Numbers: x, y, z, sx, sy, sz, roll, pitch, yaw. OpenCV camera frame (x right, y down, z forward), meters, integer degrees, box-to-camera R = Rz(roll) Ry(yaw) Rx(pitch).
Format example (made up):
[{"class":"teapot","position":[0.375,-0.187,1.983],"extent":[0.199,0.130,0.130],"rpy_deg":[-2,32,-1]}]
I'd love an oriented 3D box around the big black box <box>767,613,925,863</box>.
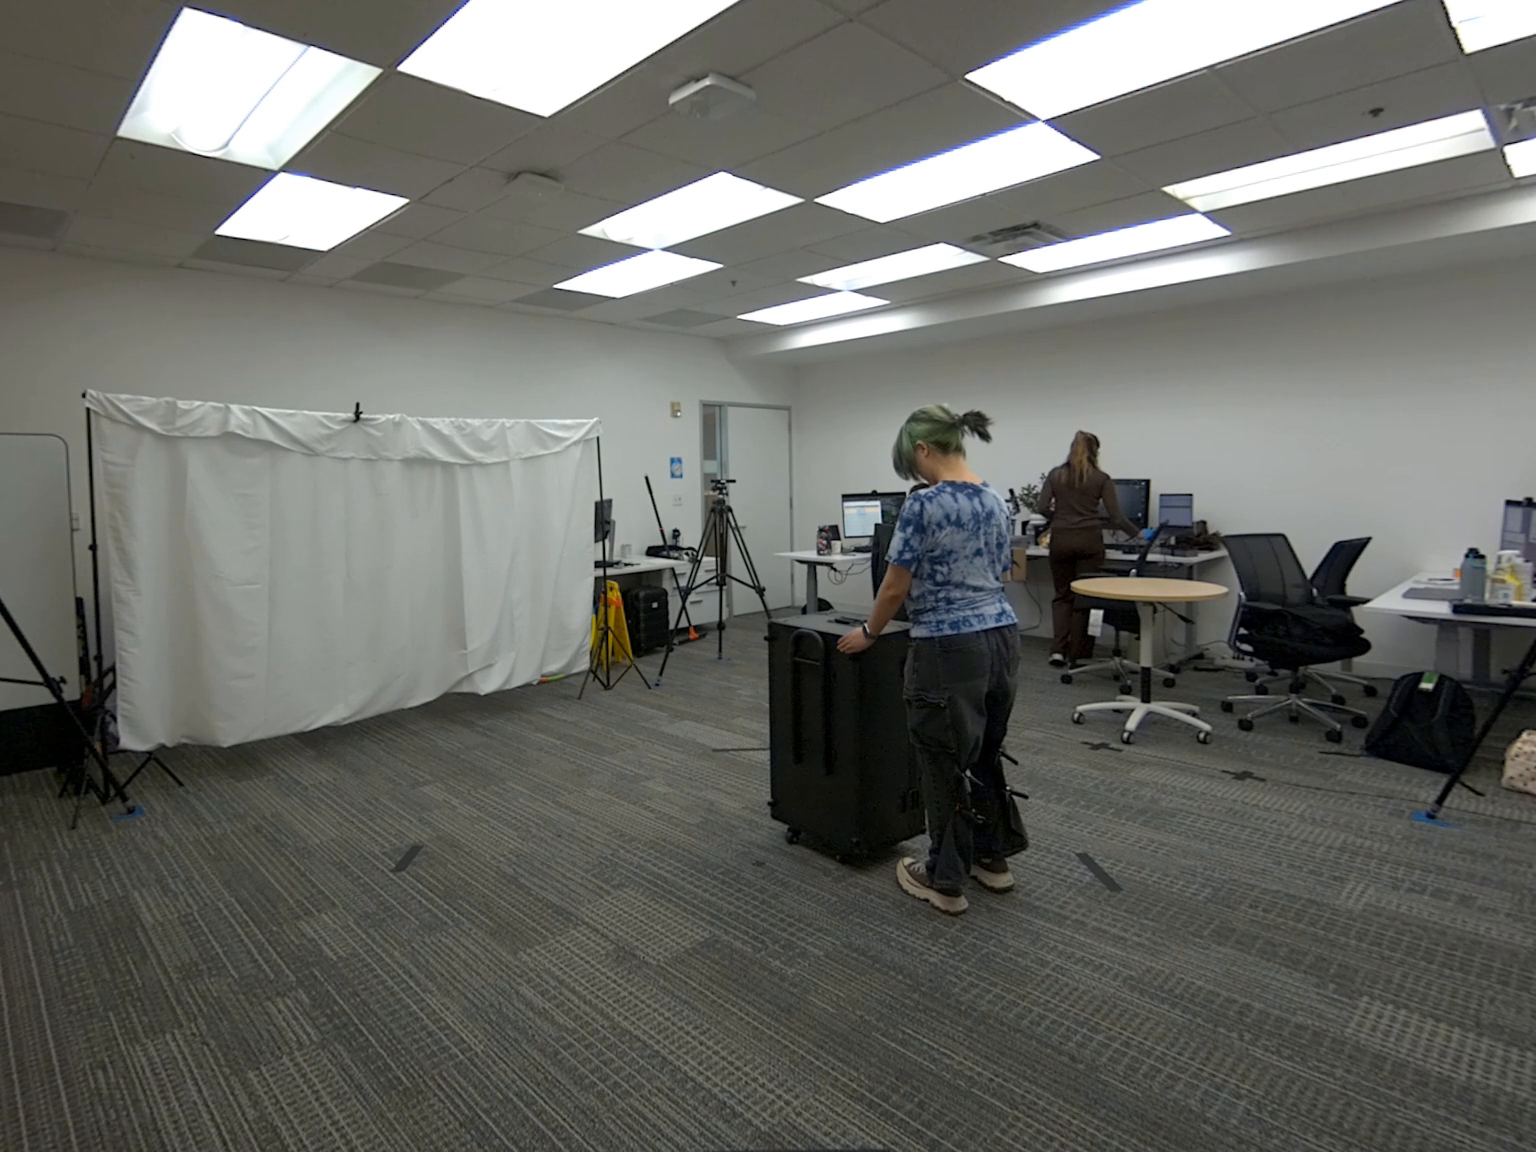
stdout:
[{"class":"big black box","position":[0.288,0.604,3.237],"extent":[0.386,0.857,0.537],"rpy_deg":[-5,7,-39]}]
